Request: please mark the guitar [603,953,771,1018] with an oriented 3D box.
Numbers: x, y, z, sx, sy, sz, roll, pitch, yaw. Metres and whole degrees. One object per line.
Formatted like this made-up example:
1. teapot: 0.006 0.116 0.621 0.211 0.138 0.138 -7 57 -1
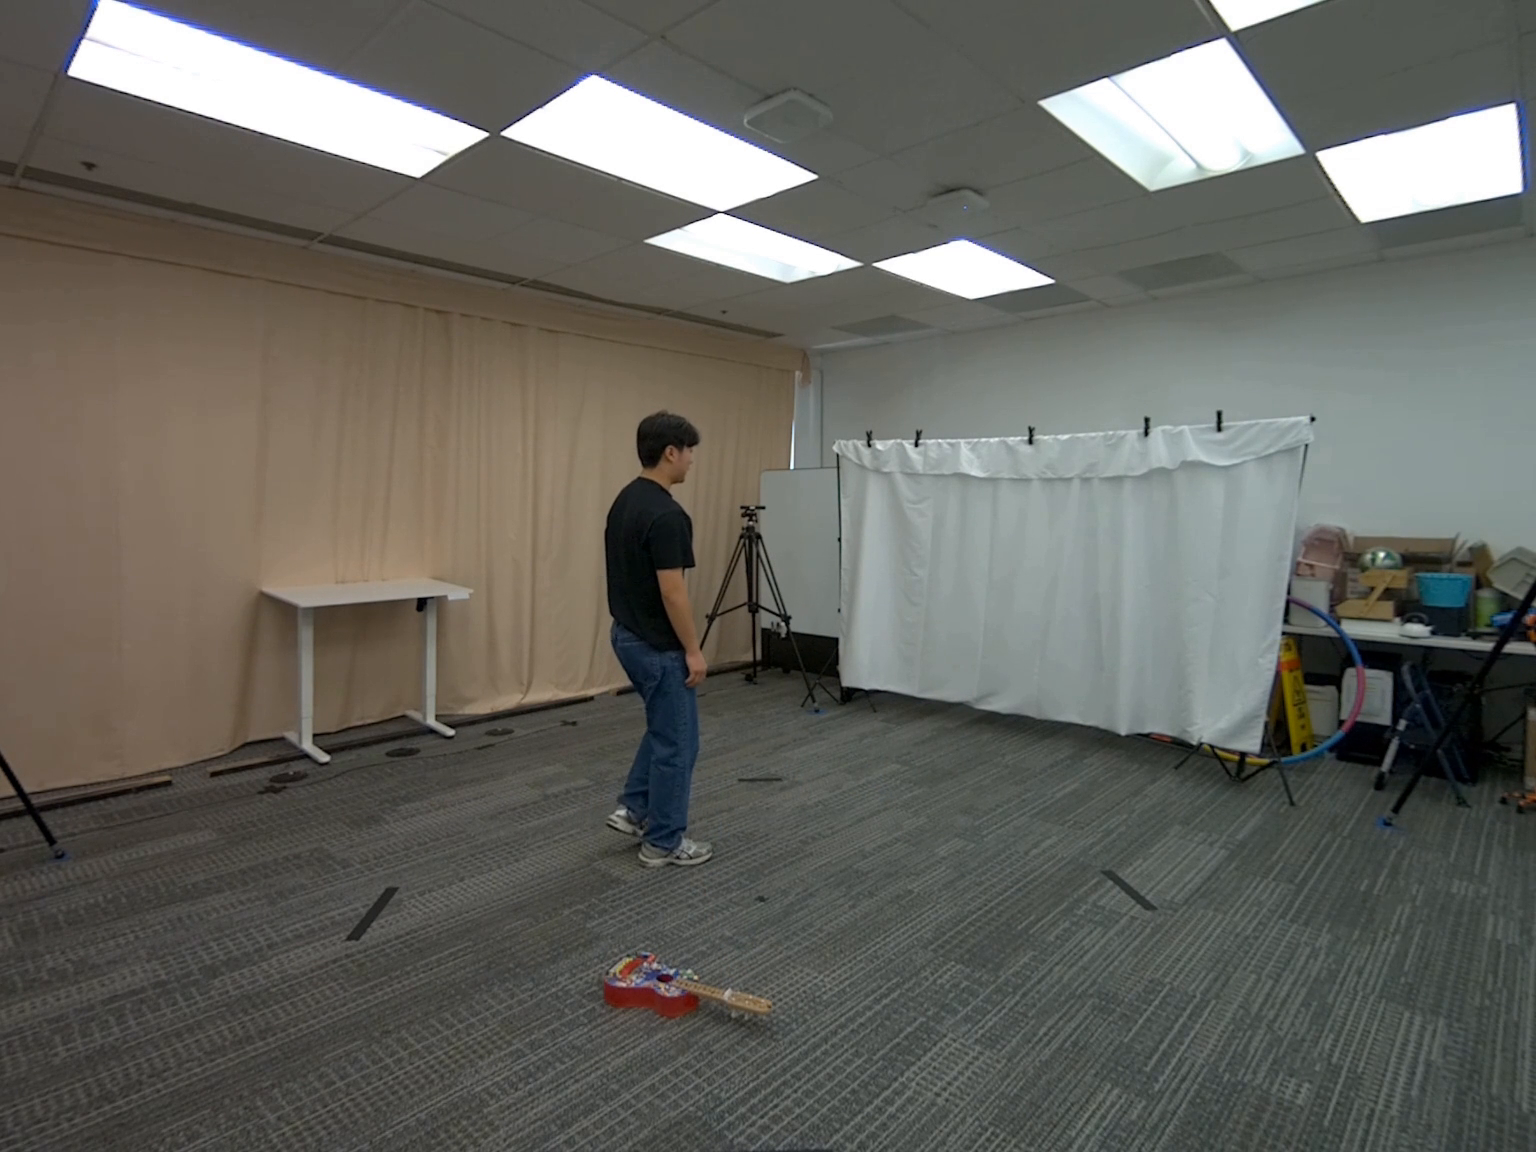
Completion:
1. guitar: -0.233 1.168 2.317 0.513 0.070 0.187 3 5 35
